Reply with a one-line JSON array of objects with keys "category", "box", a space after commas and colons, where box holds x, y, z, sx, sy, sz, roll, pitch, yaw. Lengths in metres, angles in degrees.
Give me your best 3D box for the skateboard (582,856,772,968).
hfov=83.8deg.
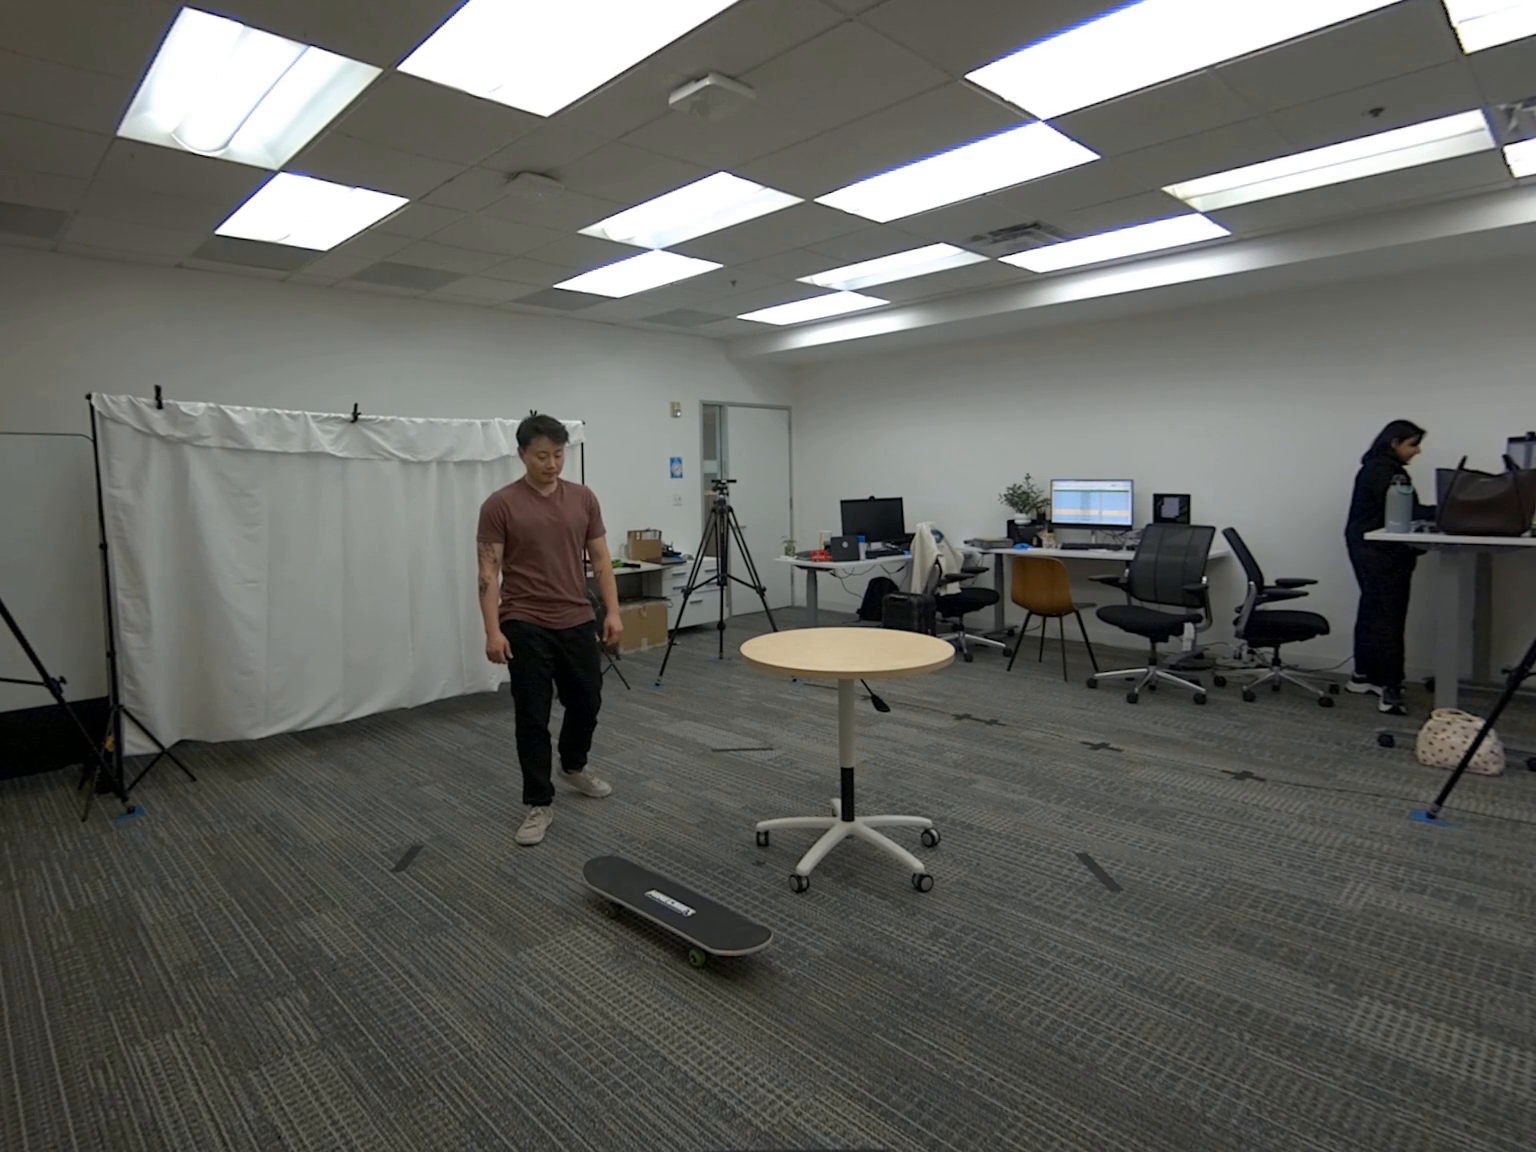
[{"category": "skateboard", "box": [-0.299, 1.050, 2.653, 0.810, 0.110, 0.189, 5, 10, 43]}]
